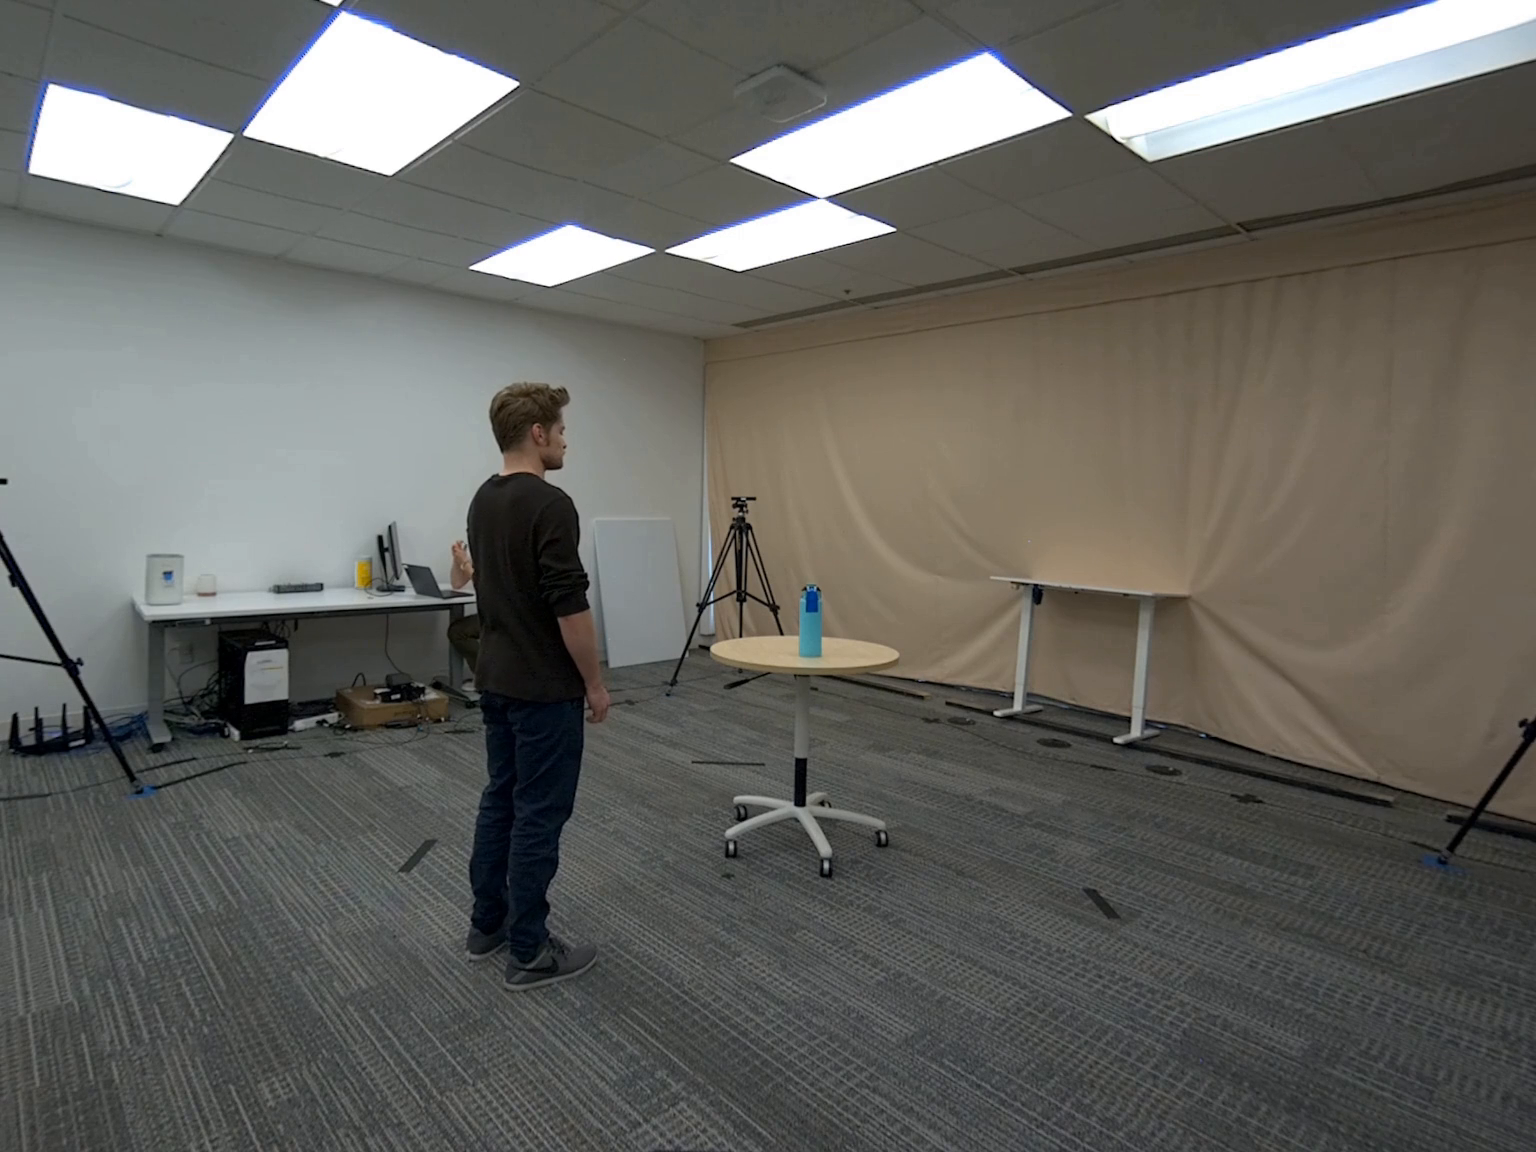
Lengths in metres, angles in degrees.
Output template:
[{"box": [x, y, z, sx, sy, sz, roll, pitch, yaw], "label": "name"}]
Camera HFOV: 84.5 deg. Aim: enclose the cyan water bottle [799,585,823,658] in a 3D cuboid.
[{"box": [0.163, 0.175, 3.301, 0.092, 0.282, 0.093, 2, 5, -2], "label": "cyan water bottle"}]
